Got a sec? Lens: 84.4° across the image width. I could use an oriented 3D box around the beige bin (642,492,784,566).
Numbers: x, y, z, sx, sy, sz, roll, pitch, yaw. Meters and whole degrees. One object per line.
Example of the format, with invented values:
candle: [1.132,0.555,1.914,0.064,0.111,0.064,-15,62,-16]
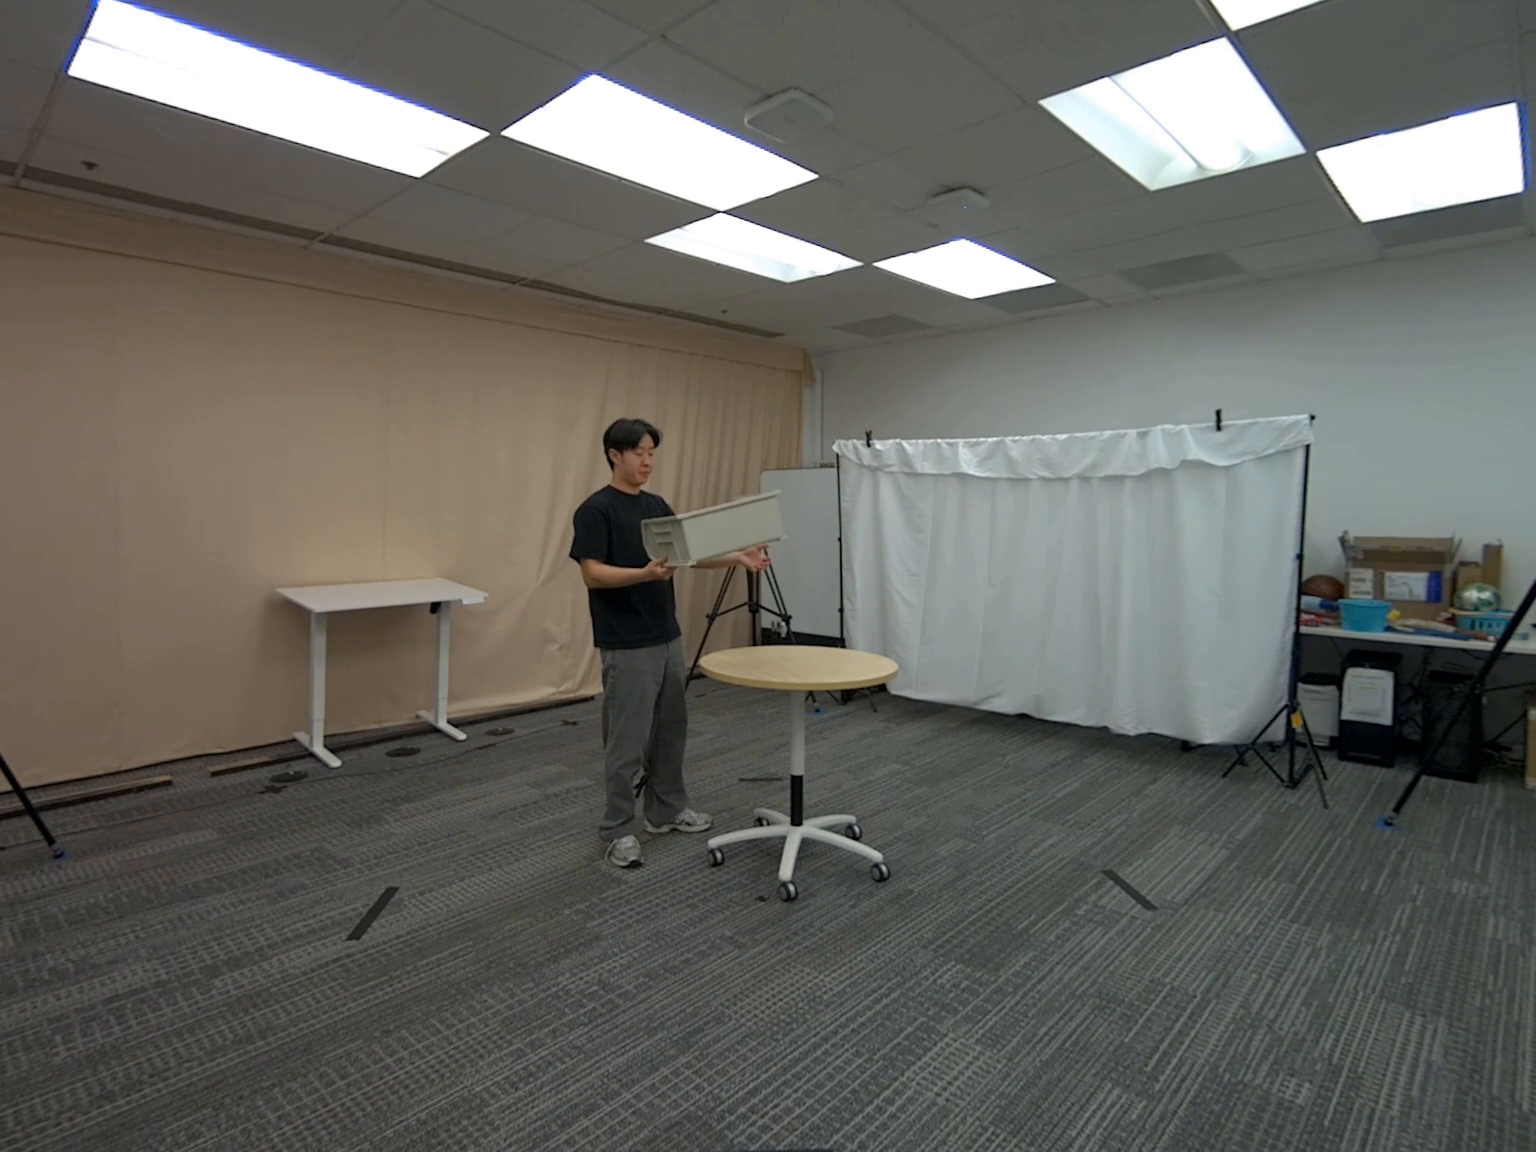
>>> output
beige bin: [-0.206,-0.168,3.130,0.414,0.188,0.387,-16,9,-27]
